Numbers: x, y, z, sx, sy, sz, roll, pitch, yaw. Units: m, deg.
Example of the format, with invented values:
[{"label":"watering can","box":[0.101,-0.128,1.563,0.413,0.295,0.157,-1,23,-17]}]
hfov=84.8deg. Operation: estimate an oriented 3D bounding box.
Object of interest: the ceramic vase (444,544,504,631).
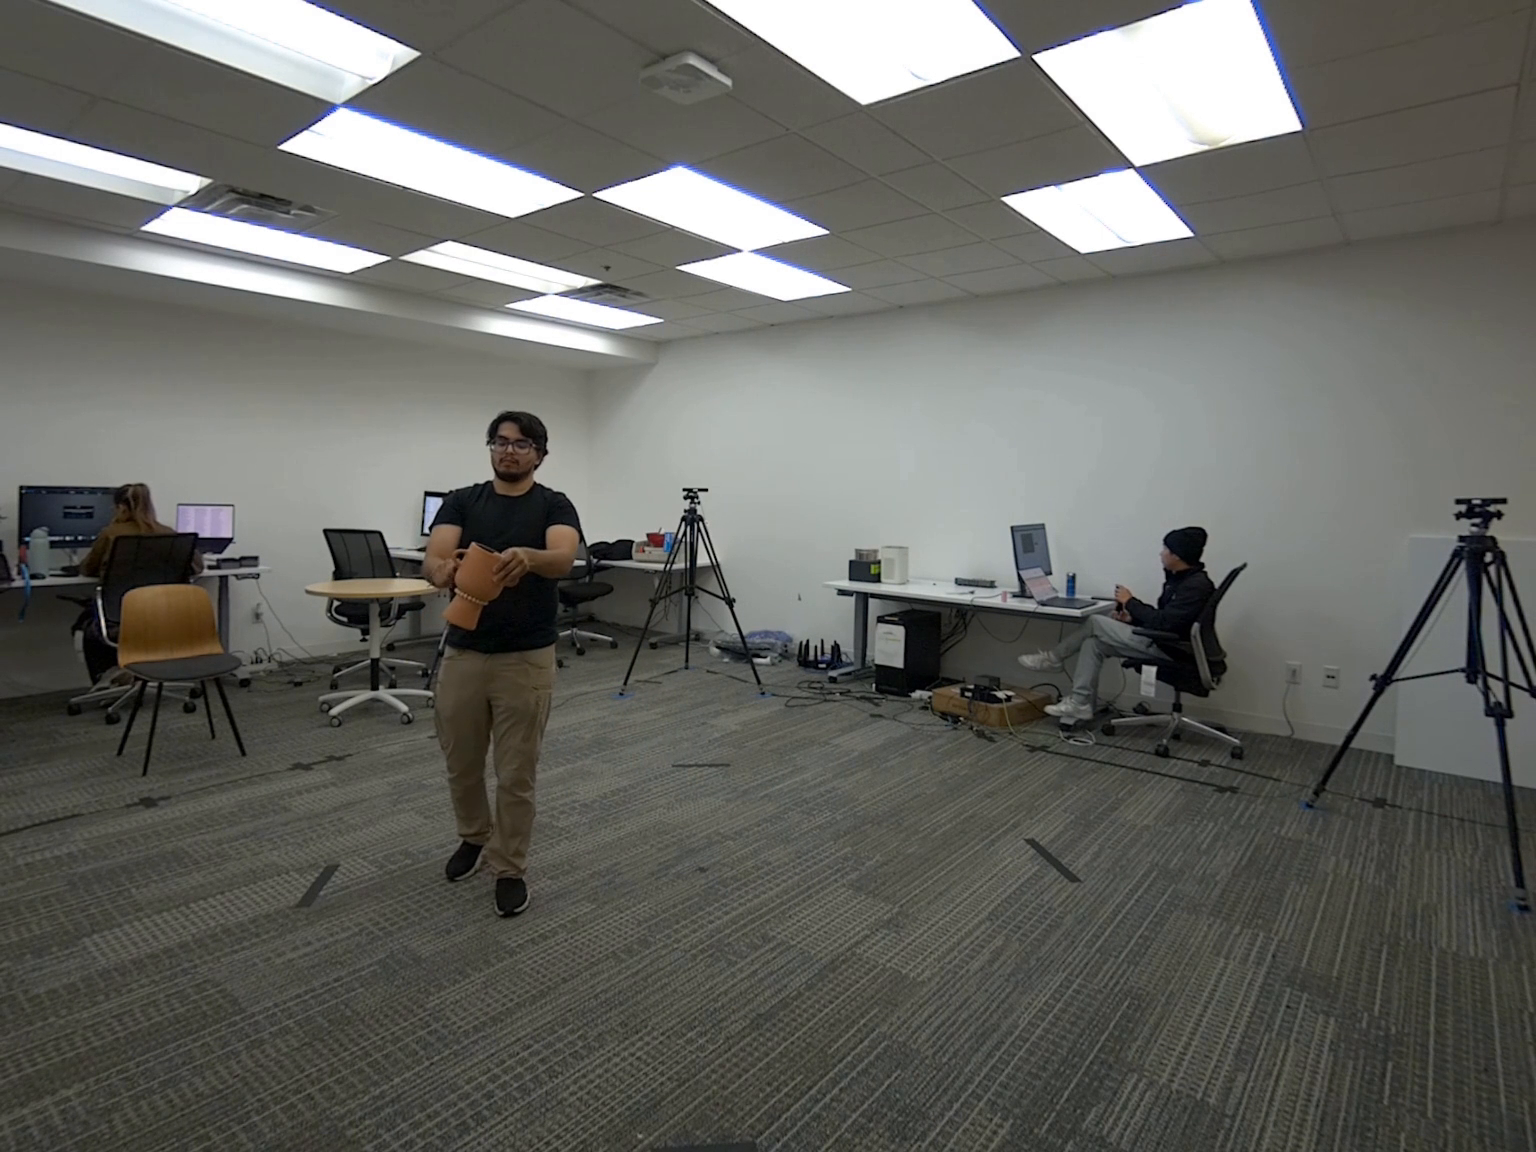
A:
[{"label":"ceramic vase","box":[-0.841,0.026,2.400,0.161,0.220,0.133,26,-2,9]}]
